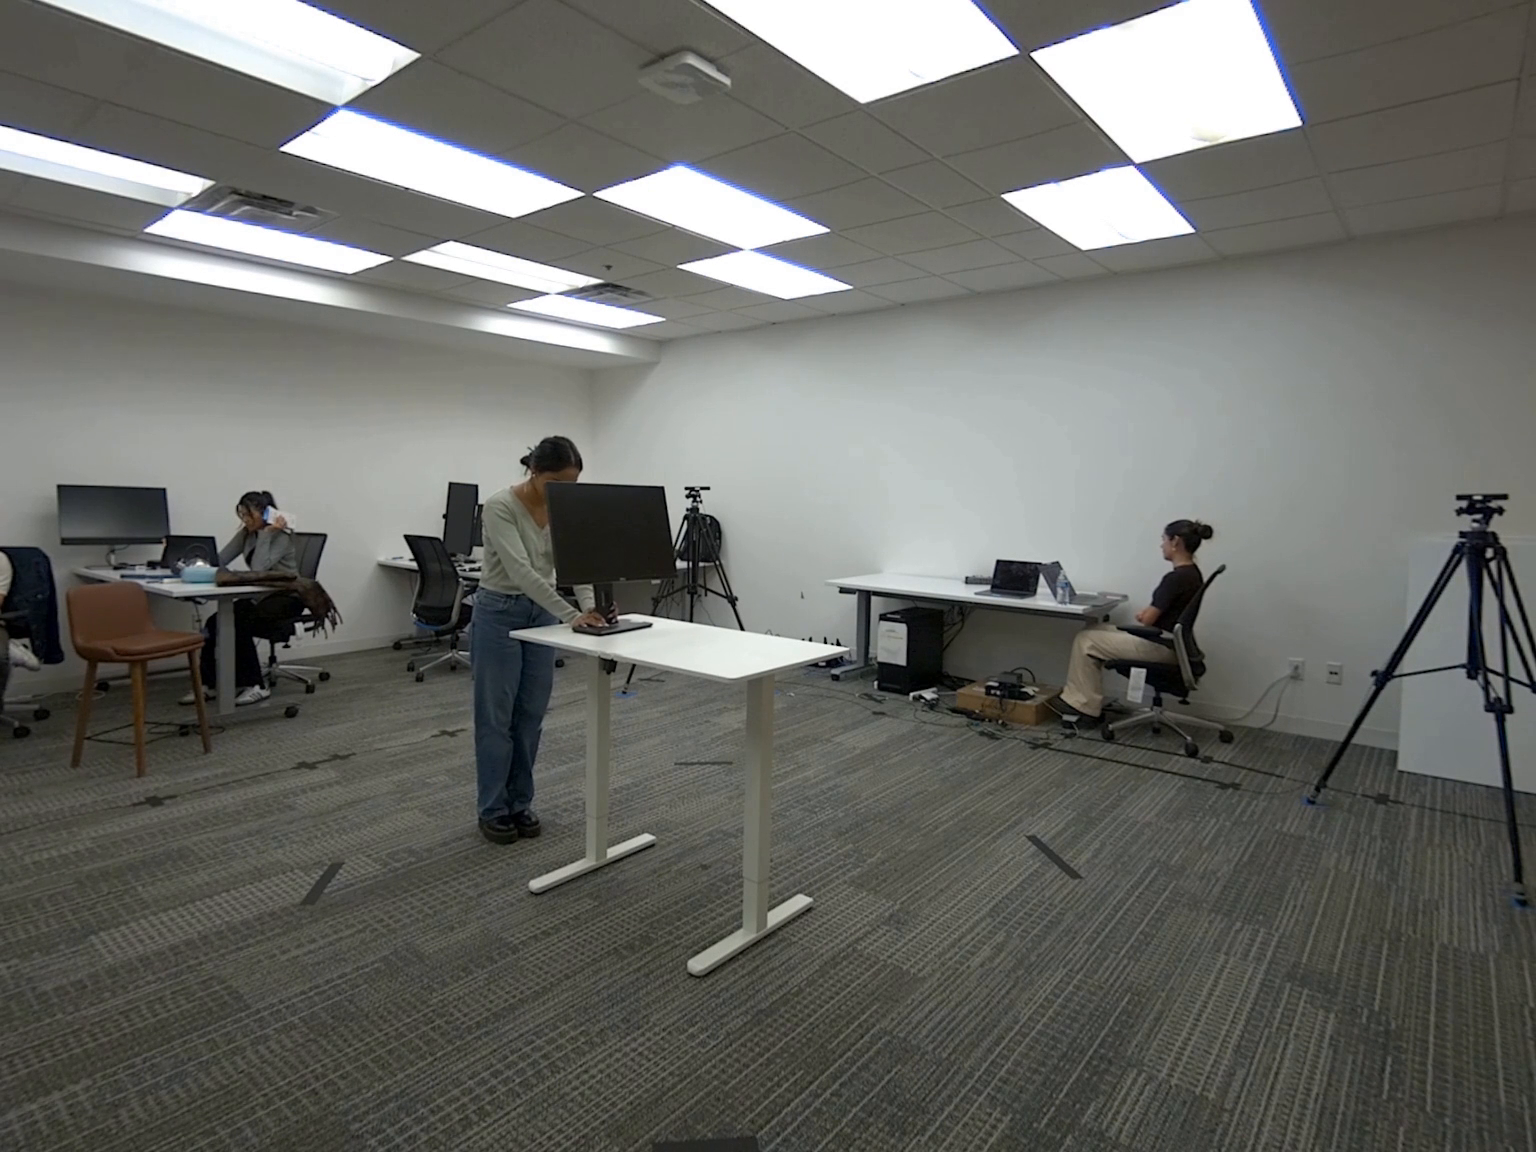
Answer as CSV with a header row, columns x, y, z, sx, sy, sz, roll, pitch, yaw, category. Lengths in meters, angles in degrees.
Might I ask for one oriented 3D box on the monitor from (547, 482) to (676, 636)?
x,y,z,sx,sy,sz,roll,pitch,yaw,category
-0.574,-0.067,3.009,0.193,0.522,0.523,2,2,40,monitor
